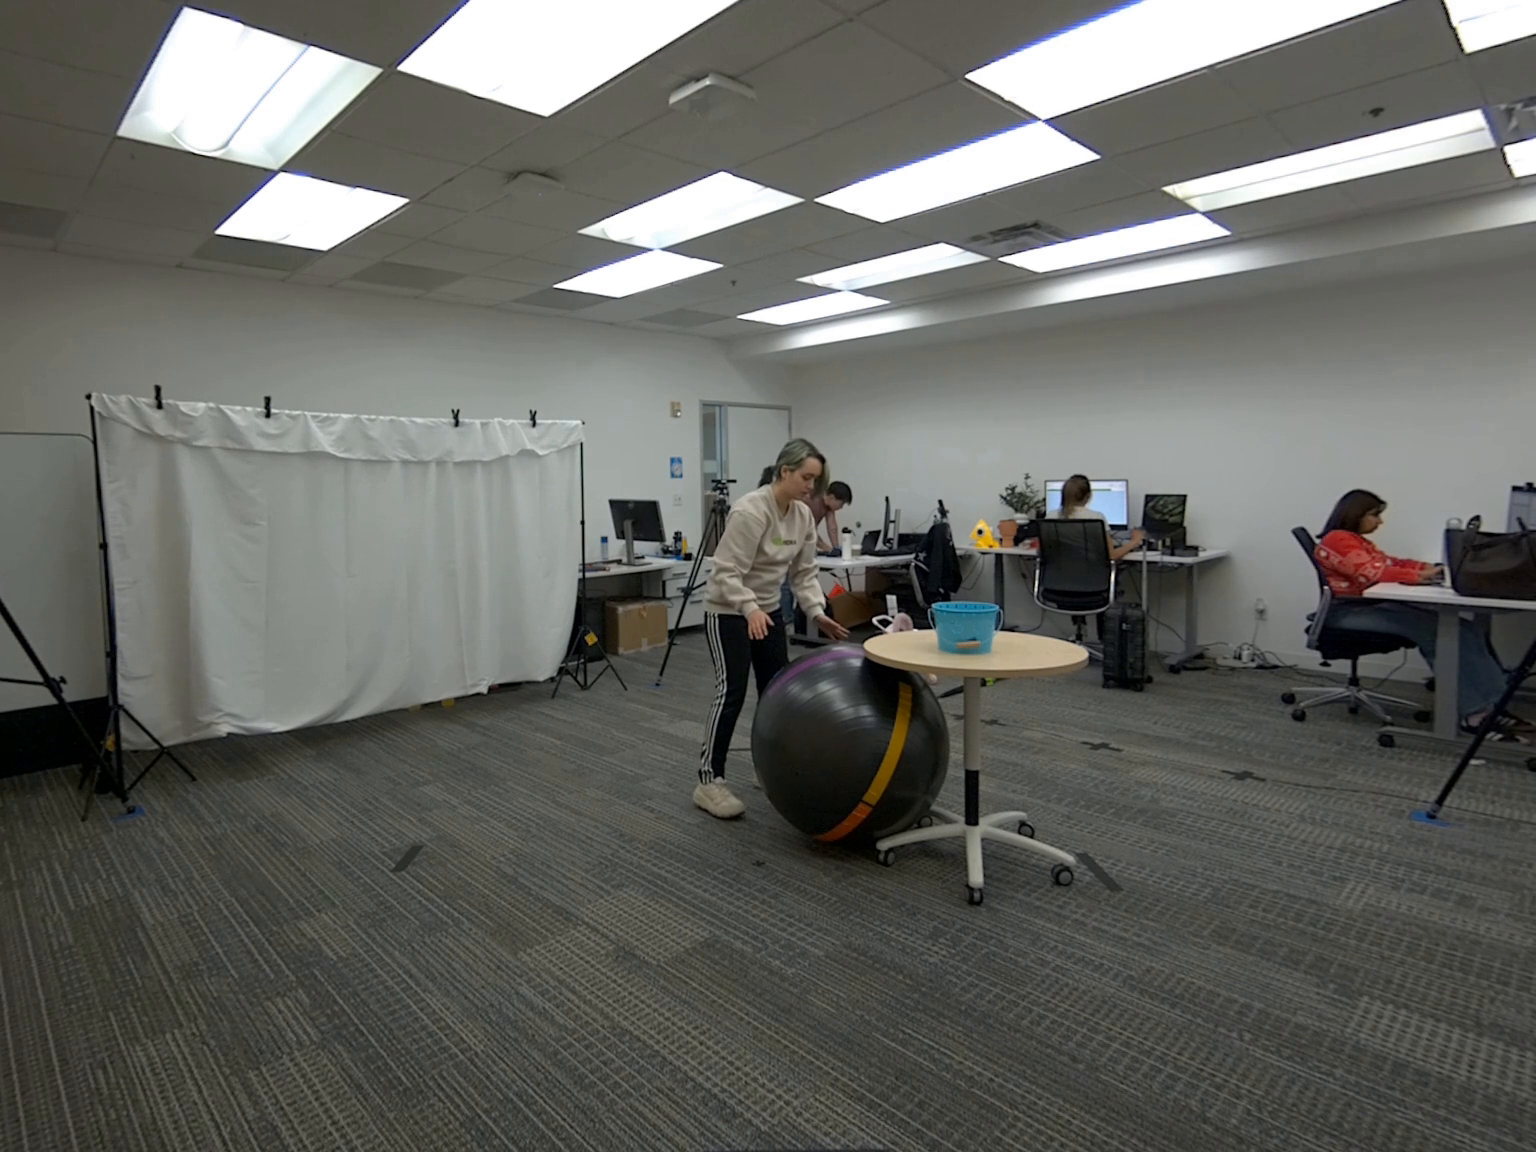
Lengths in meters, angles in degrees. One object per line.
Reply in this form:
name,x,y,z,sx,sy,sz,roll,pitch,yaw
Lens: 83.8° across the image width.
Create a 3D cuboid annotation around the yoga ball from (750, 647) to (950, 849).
yoga ball,0.314,0.649,3.297,0.757,0.755,0.762,-1,5,-2
